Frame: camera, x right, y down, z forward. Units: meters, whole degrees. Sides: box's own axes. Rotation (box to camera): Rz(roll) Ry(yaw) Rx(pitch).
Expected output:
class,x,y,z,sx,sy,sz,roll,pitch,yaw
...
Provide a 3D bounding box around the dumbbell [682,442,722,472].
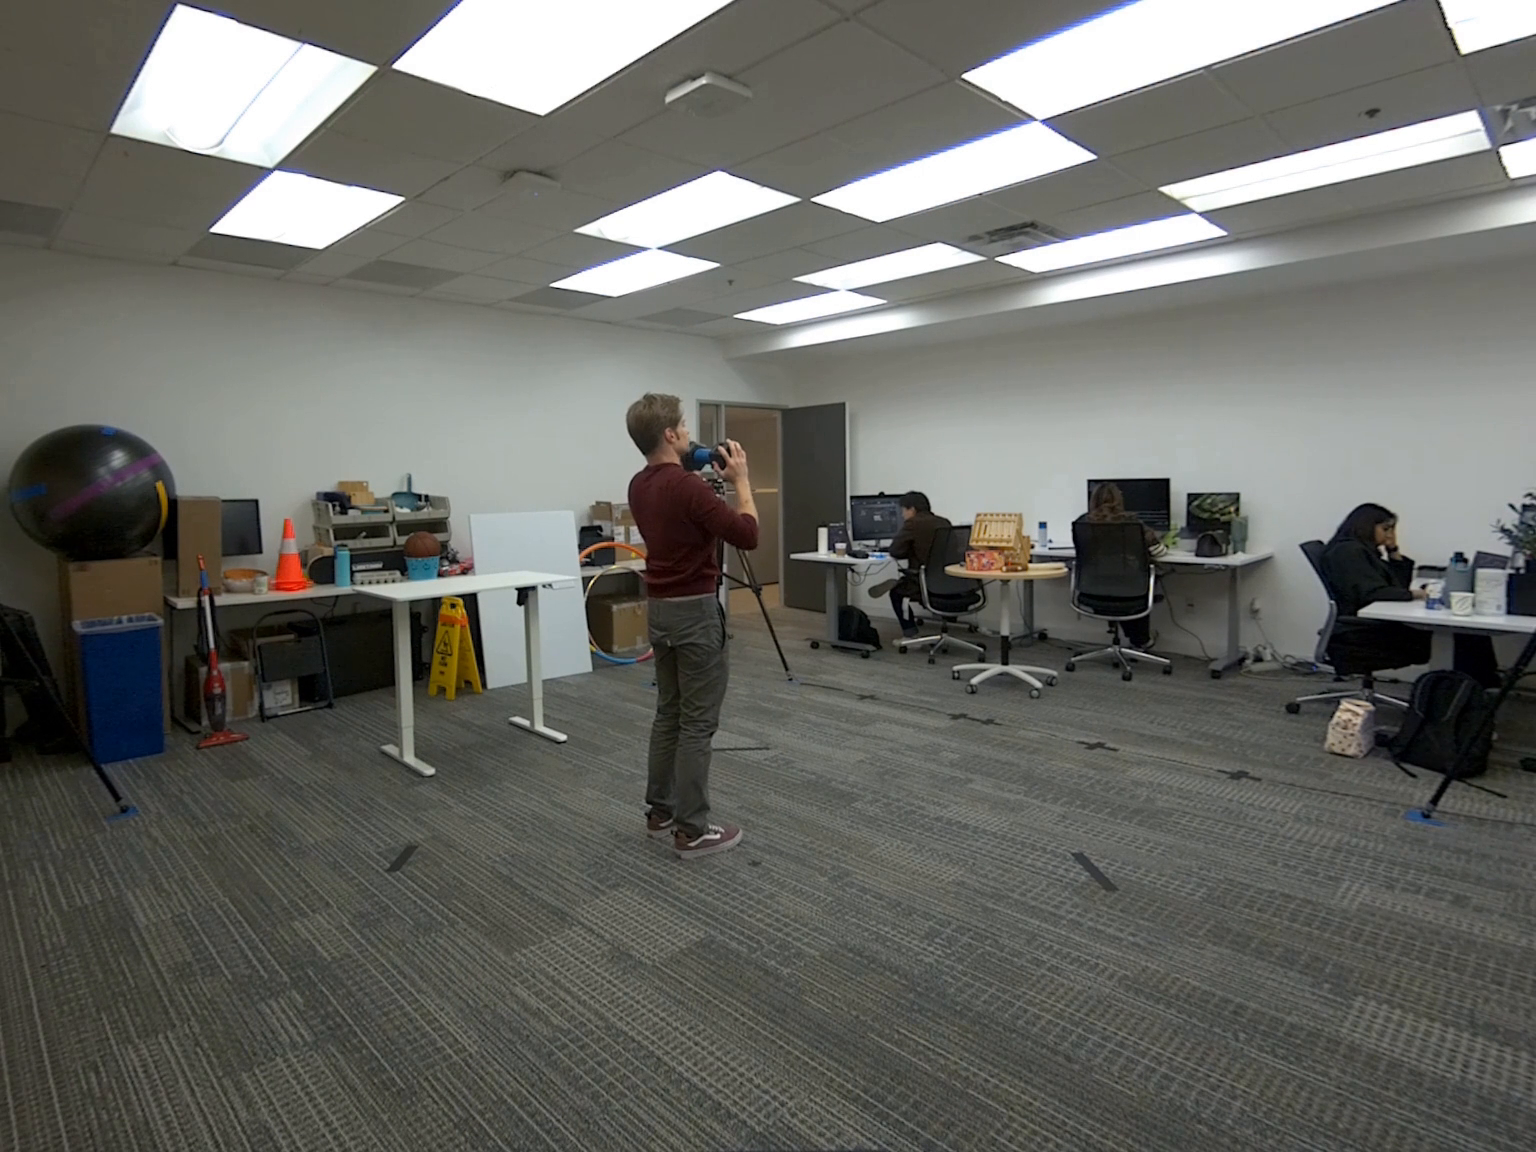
class,x,y,z,sx,sy,sz,roll,pitch,yaw
dumbbell,-0.232,-0.474,3.315,0.107,0.120,0.304,-28,26,-29
